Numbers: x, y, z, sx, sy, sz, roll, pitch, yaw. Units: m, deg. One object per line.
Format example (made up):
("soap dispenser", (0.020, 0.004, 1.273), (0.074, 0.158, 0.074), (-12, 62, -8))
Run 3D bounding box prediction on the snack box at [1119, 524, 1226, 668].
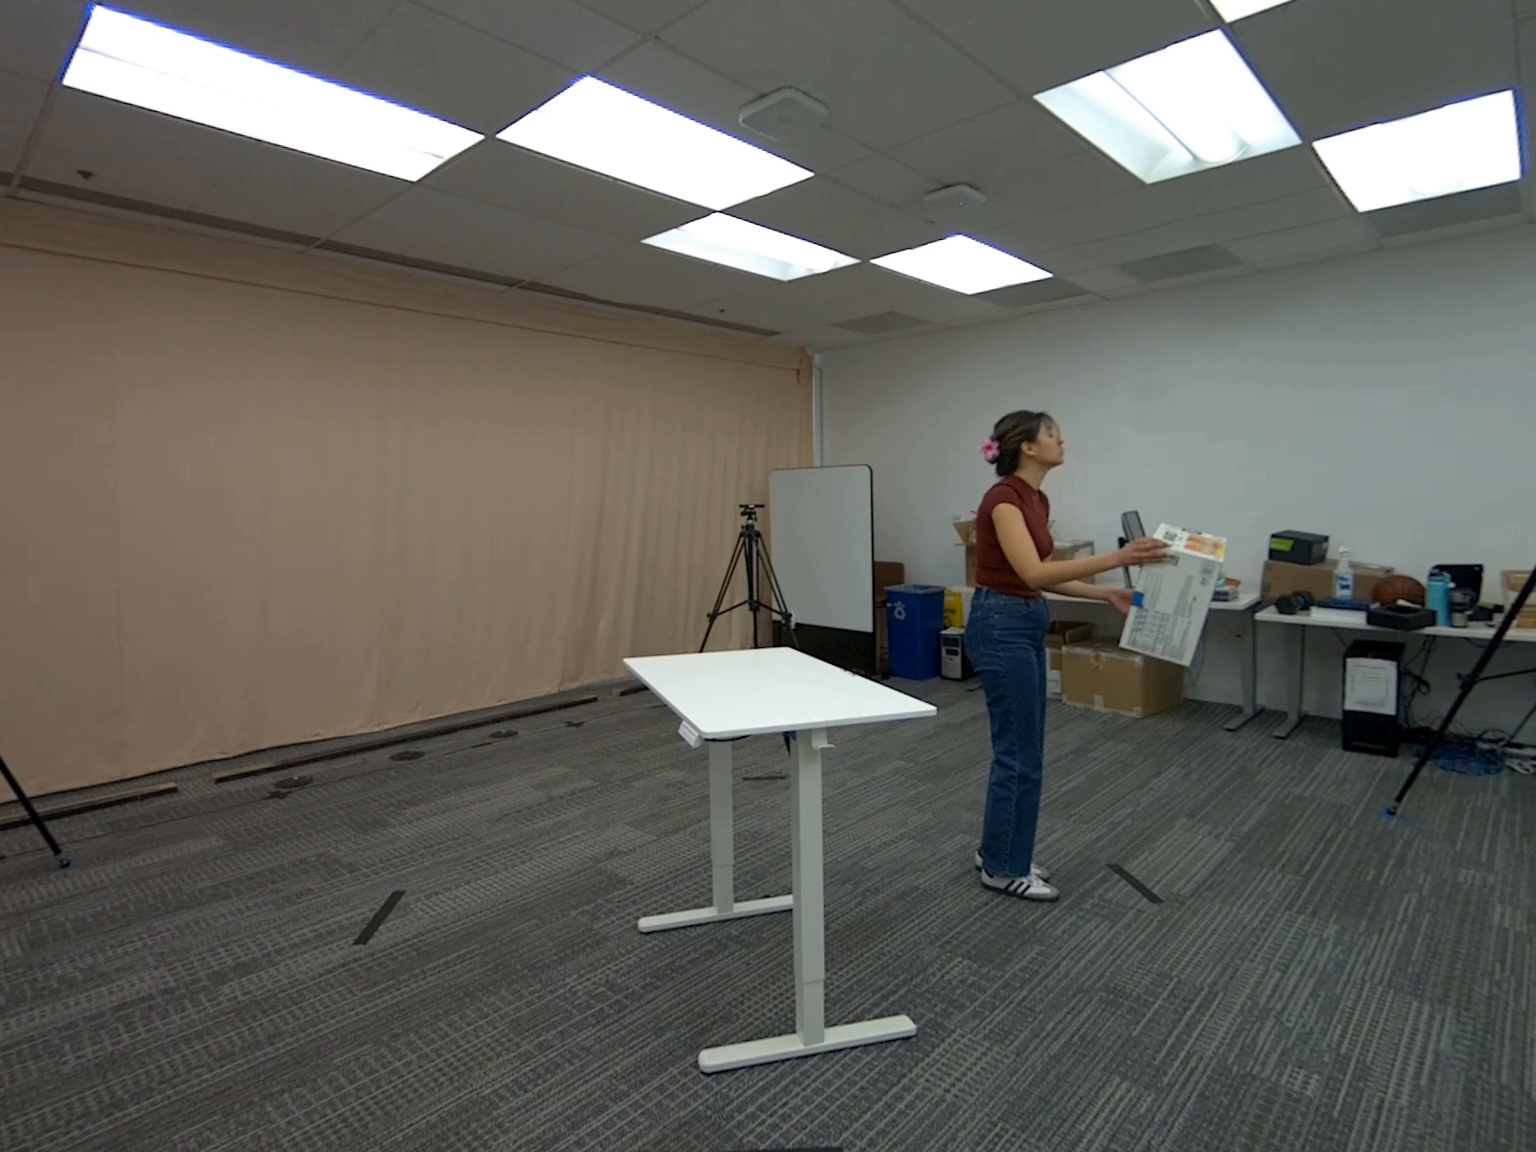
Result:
("snack box", (1.315, 0.063, 2.704), (0.212, 0.337, 0.396), (17, 20, 26))
